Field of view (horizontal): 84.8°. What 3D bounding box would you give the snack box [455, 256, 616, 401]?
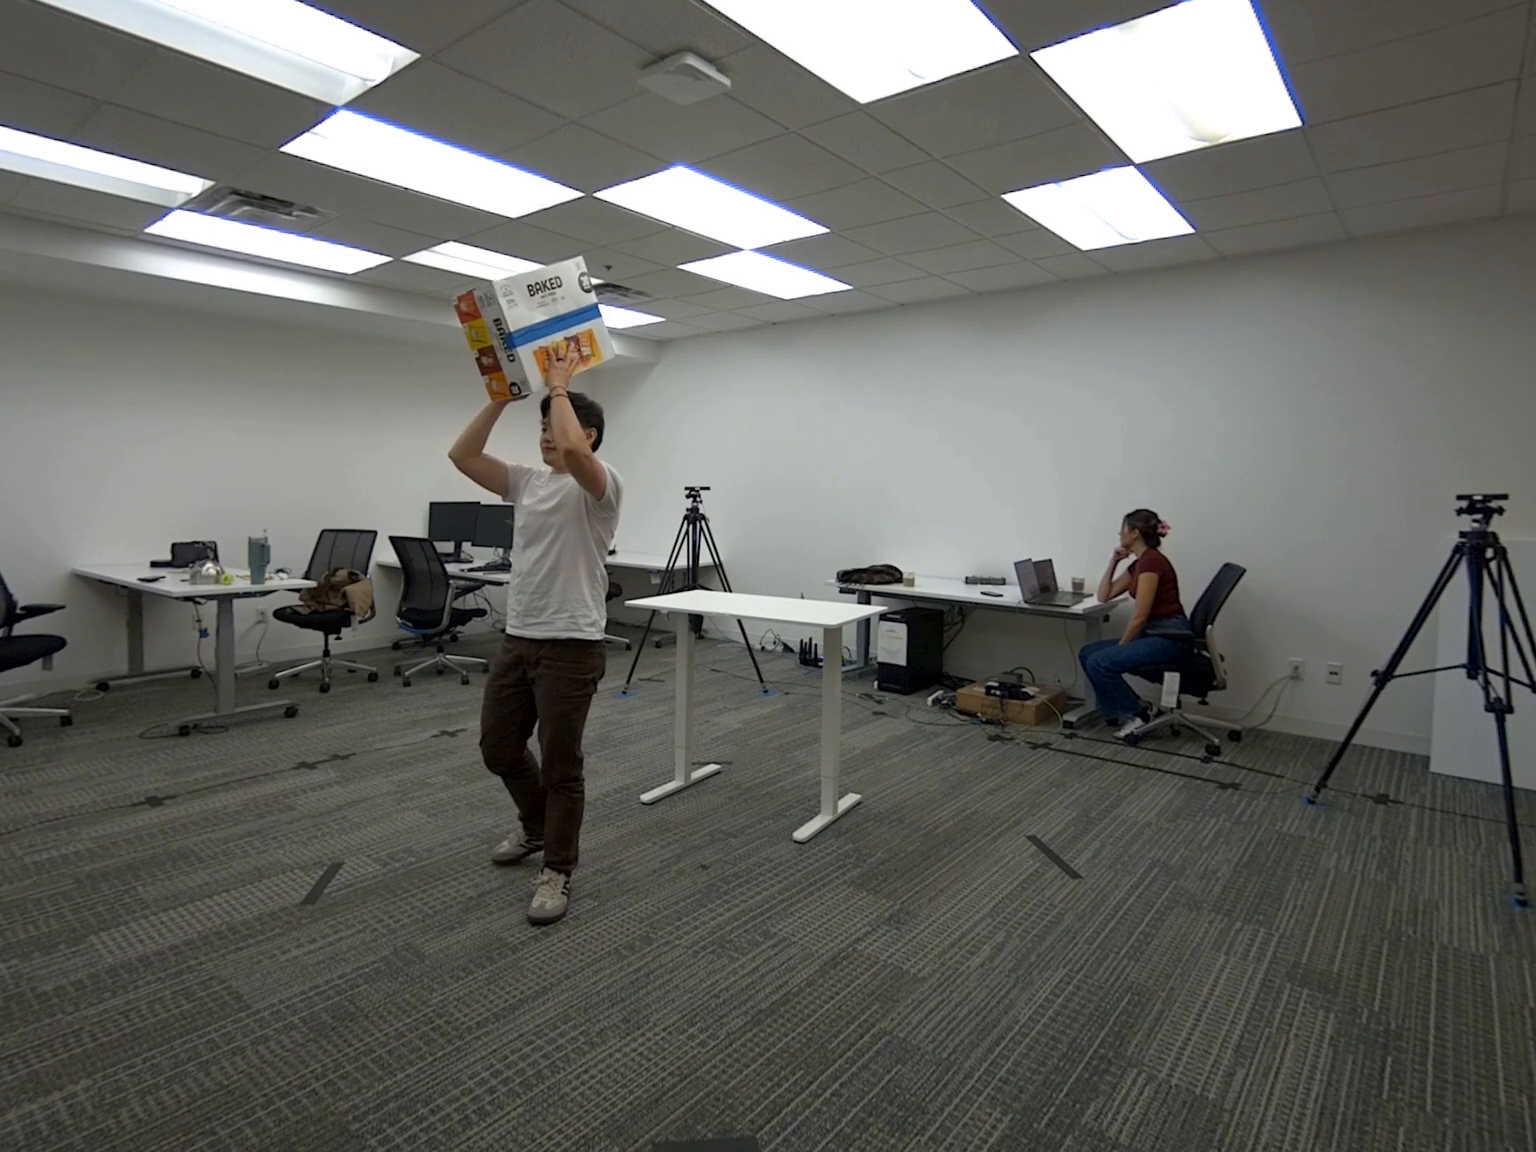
[{"bbox_3d":[-0.755,-0.798,2.736,0.212,0.333,0.402,-3,25,37],"label":"snack box"}]
